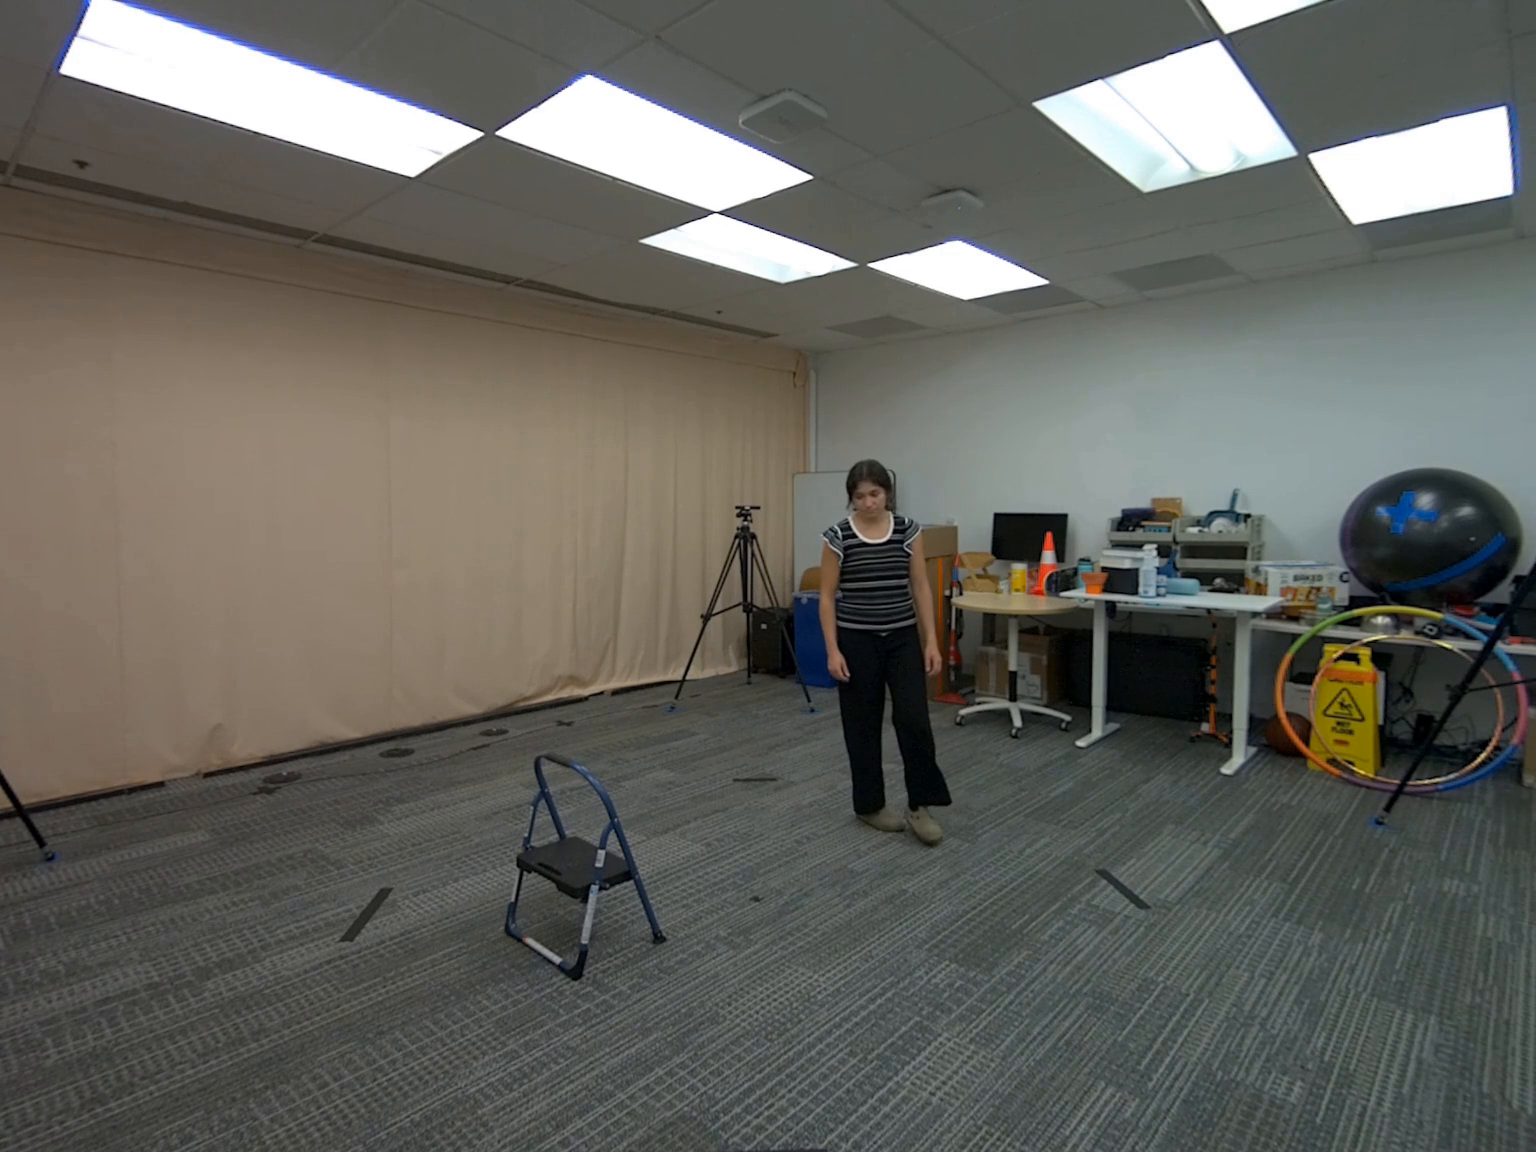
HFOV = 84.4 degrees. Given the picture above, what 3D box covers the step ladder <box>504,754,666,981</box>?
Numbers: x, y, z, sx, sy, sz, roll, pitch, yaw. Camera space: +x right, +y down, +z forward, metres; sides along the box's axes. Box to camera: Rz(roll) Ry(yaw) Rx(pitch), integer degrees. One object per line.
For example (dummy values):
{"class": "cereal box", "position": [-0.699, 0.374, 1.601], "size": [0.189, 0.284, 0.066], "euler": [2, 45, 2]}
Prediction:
{"class": "step ladder", "position": [-0.601, 0.871, 2.717], "size": [0.445, 0.605, 0.338], "euler": [2, 3, 43]}
